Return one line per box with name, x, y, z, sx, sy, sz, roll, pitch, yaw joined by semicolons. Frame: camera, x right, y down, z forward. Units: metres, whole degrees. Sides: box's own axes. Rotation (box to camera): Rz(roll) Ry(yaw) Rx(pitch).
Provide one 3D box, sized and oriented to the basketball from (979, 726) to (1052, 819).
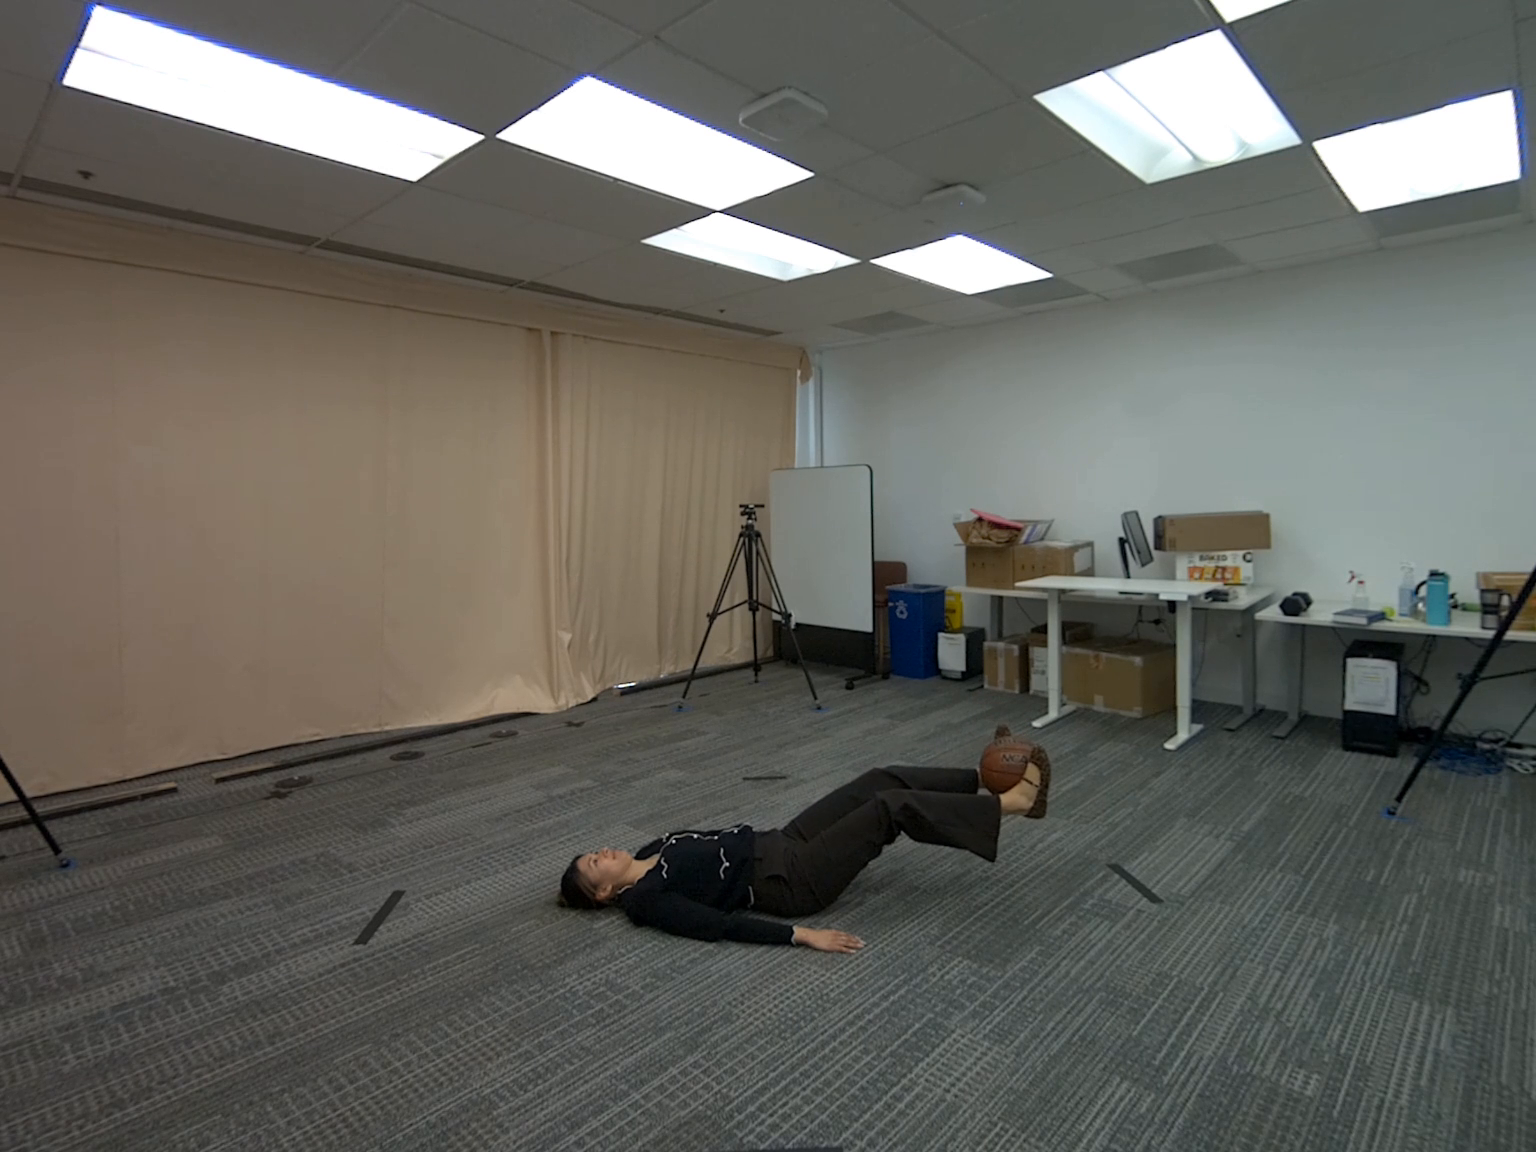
basketball;0.894;0.696;3.021;0.236;0.236;0.236;0;1;-2
